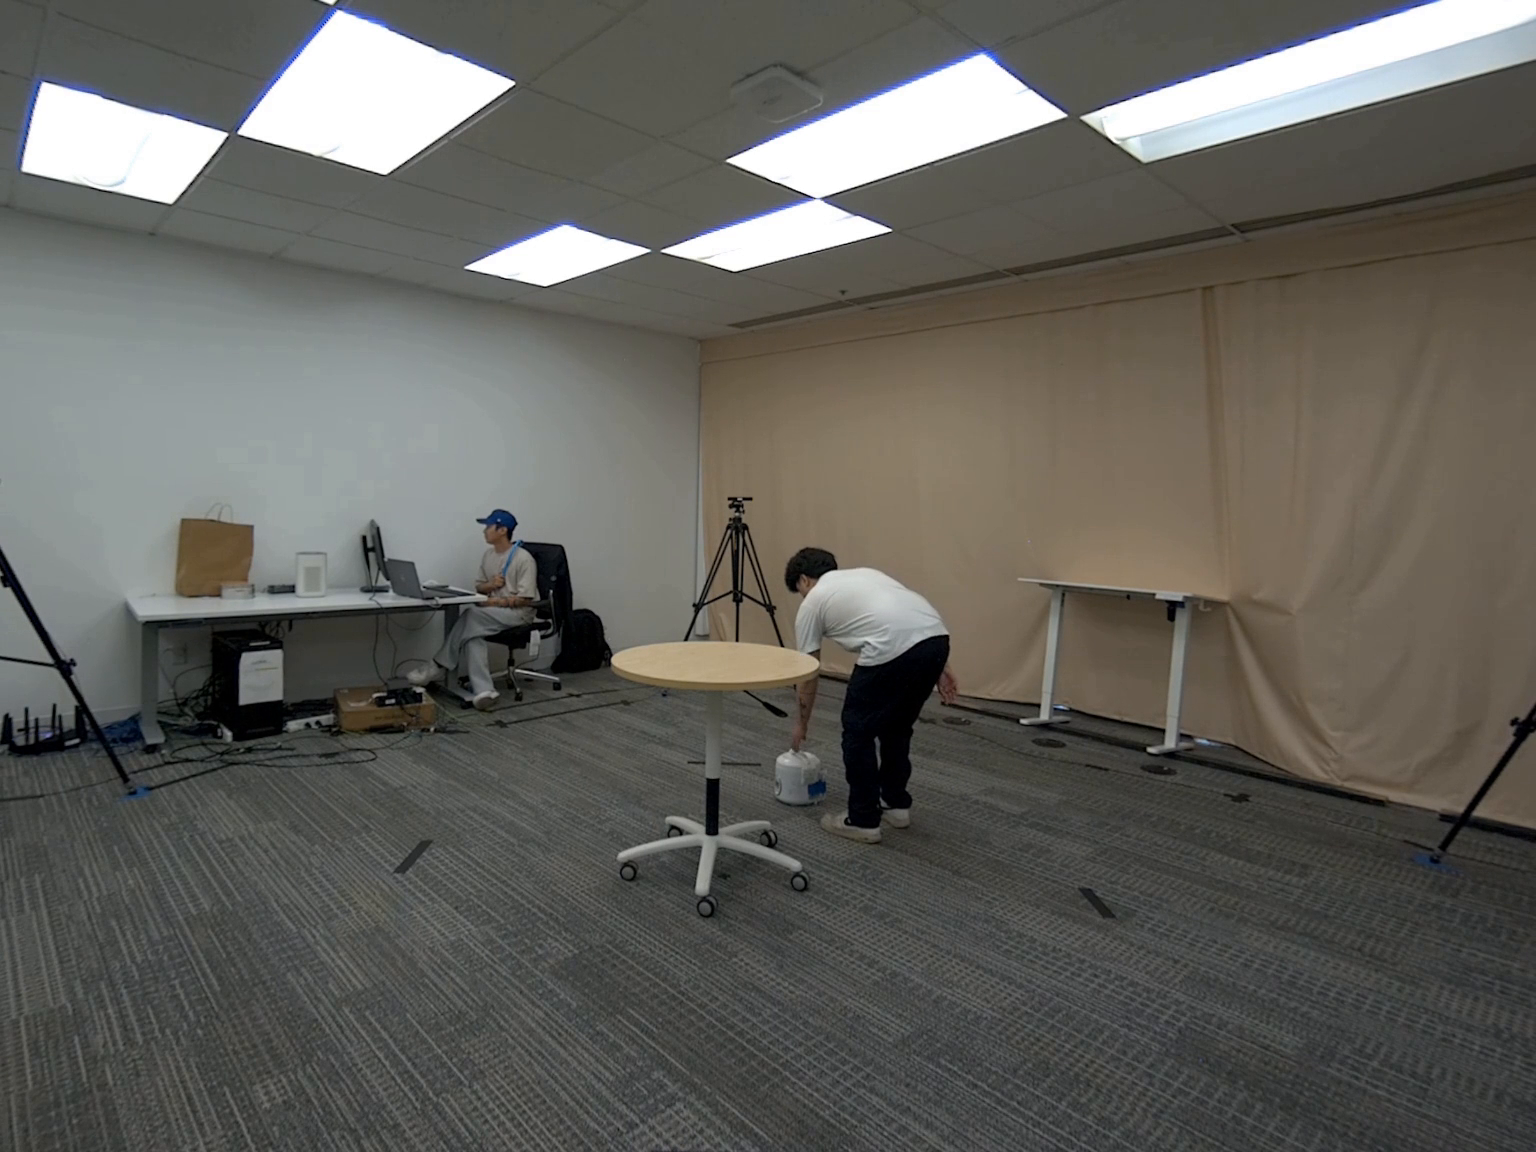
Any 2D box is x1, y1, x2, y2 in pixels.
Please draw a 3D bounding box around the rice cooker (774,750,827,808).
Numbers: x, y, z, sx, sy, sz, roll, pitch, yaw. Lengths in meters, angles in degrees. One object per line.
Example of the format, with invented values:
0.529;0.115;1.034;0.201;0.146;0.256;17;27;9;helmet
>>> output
0.124;0.930;3.934;0.213;0.232;0.225;0;4;-24;rice cooker
